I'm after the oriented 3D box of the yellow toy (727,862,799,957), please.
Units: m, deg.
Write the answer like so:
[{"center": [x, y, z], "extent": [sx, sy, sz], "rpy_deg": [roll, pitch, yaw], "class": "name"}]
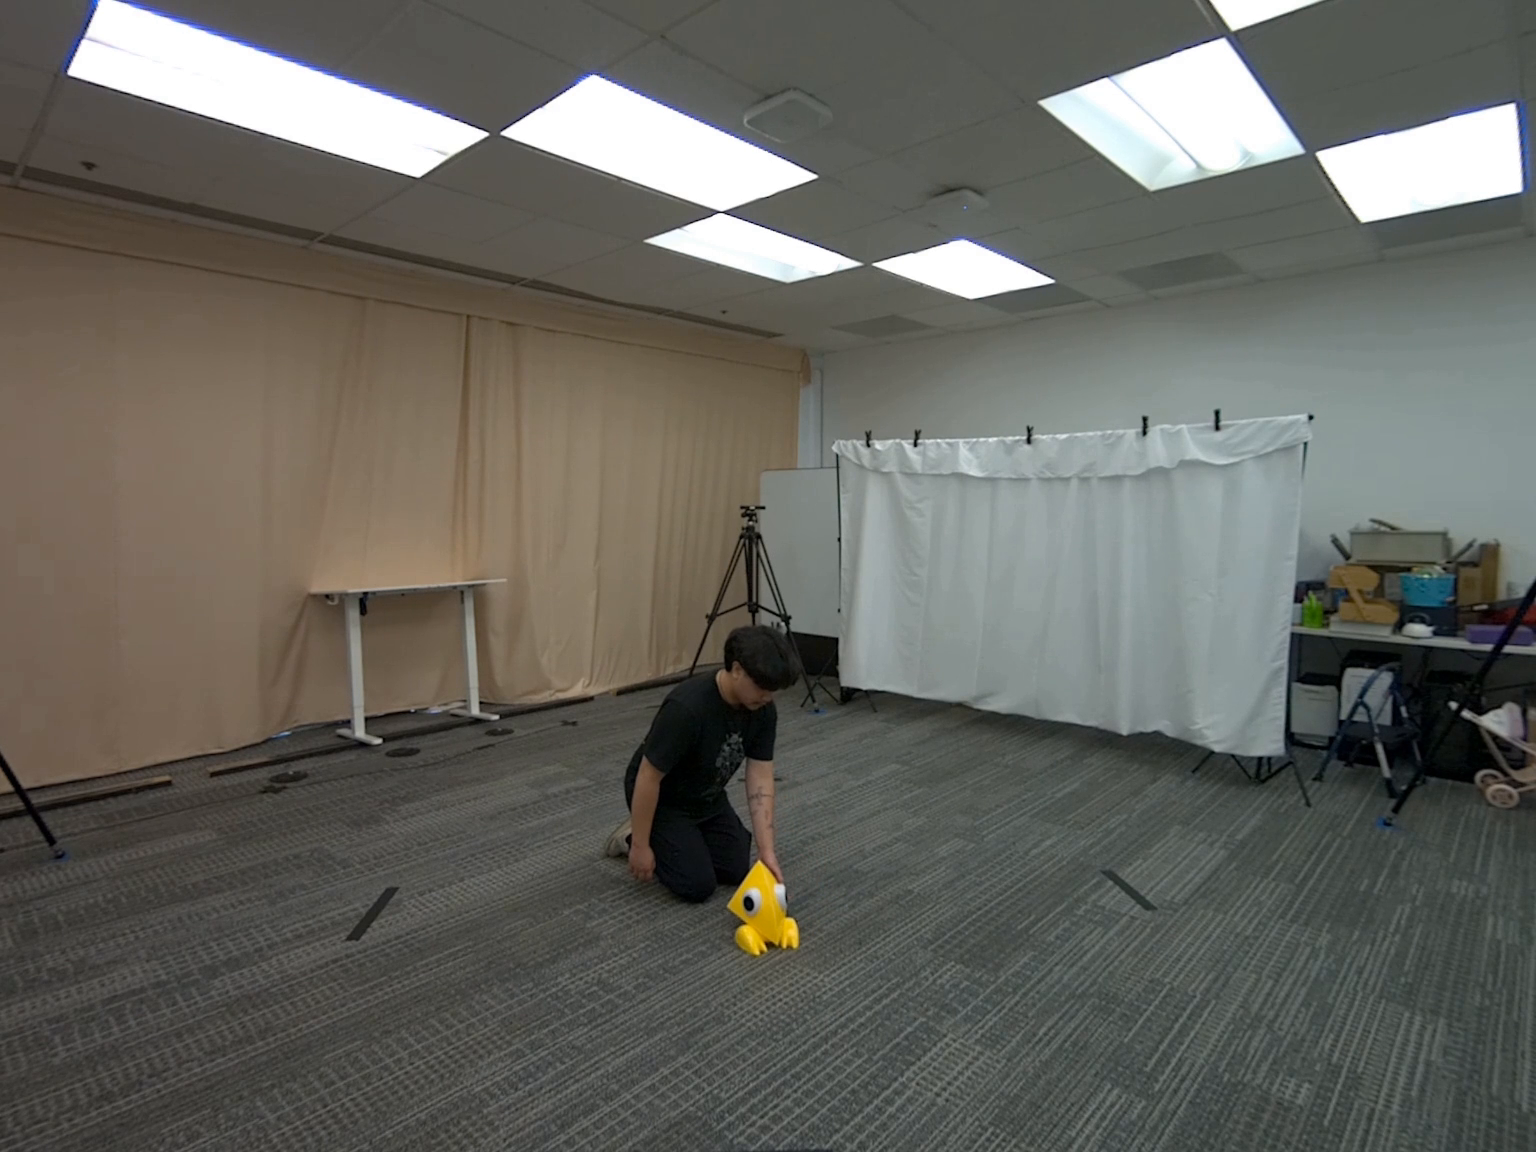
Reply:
[{"center": [-0.002, 1.057, 2.707], "extent": [0.200, 0.230, 0.197], "rpy_deg": [-2, 5, -21], "class": "yellow toy"}]
